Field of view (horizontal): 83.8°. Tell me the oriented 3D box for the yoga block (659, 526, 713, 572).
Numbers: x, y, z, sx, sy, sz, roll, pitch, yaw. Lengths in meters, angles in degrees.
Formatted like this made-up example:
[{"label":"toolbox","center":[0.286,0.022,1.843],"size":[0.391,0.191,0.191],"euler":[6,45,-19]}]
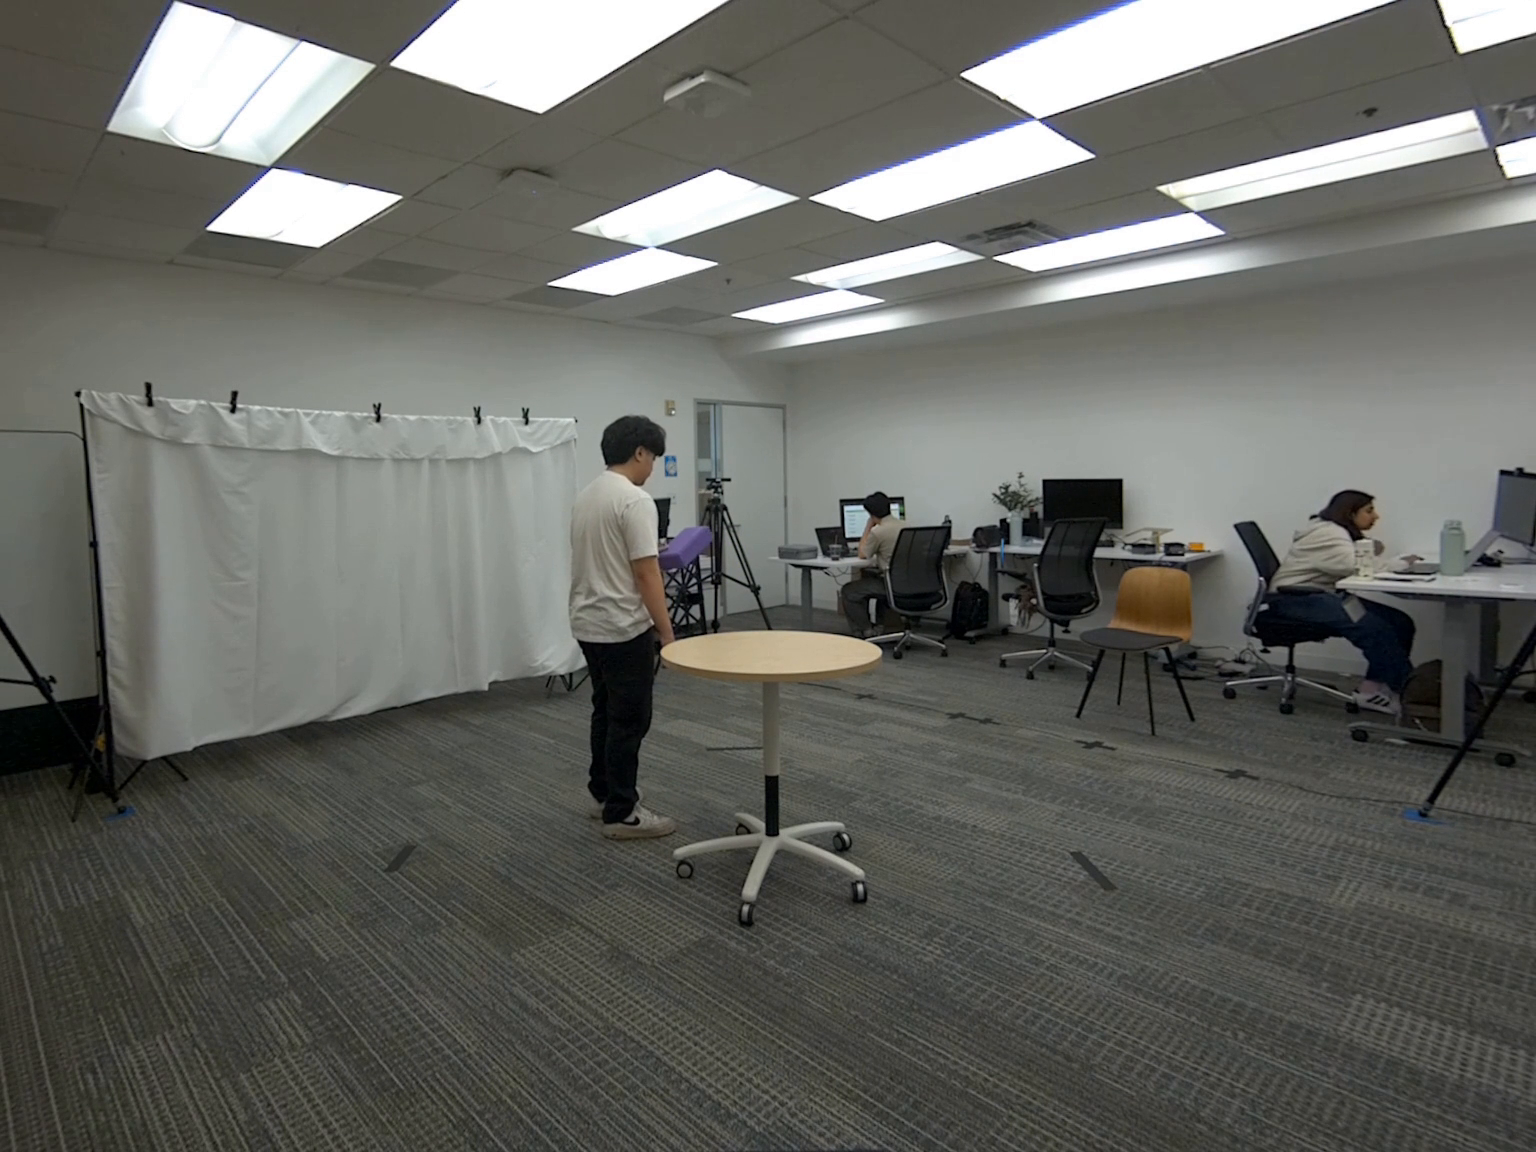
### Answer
[{"label":"yoga block","center":[-0.365,-0.123,3.711],"size":[0.153,0.074,0.229],"euler":[-4,32,43]}]
